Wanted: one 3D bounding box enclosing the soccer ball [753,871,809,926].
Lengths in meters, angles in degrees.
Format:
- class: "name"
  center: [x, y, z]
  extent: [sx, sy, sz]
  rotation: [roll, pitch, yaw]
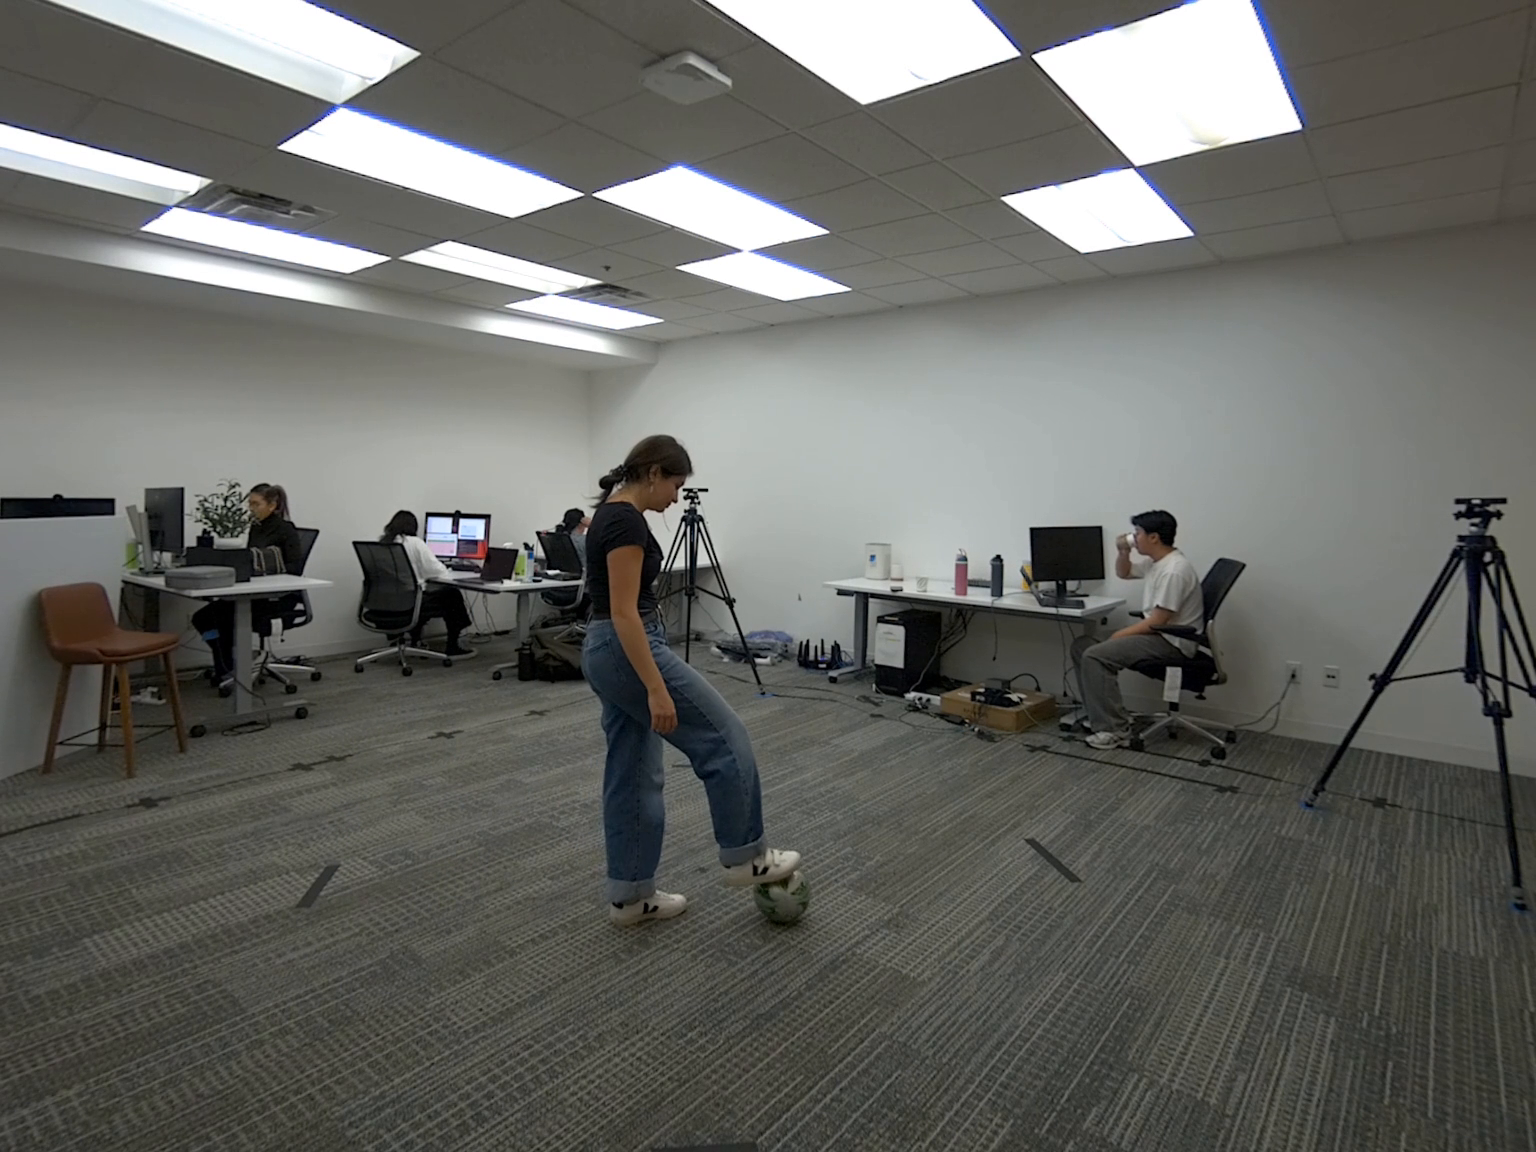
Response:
- class: "soccer ball"
  center: [0.049, 1.016, 2.759]
  extent: [0.187, 0.187, 0.188]
  rotation: [1, 4, -2]
